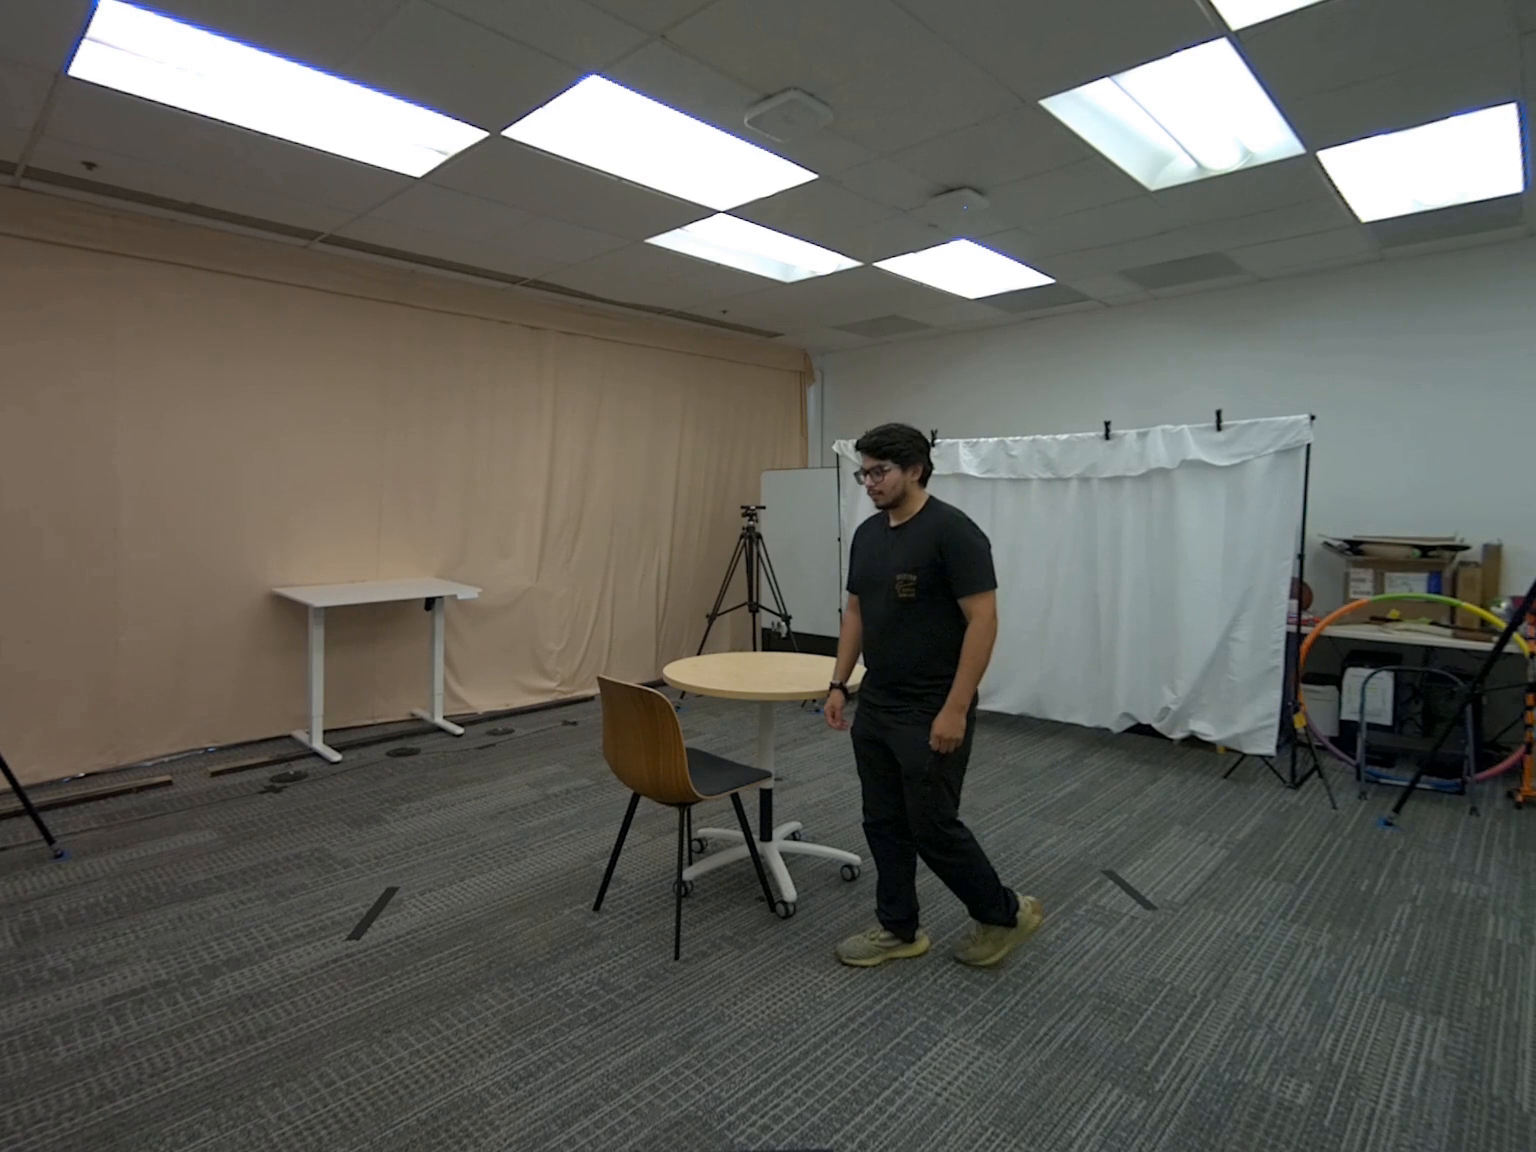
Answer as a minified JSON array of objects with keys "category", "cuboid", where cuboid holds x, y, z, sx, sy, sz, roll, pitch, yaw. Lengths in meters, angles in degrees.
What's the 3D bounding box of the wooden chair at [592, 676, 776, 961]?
[{"category":"wooden chair","cuboid":[-0.273,0.722,2.874,0.508,0.874,0.494,-9,8,-43]}]
